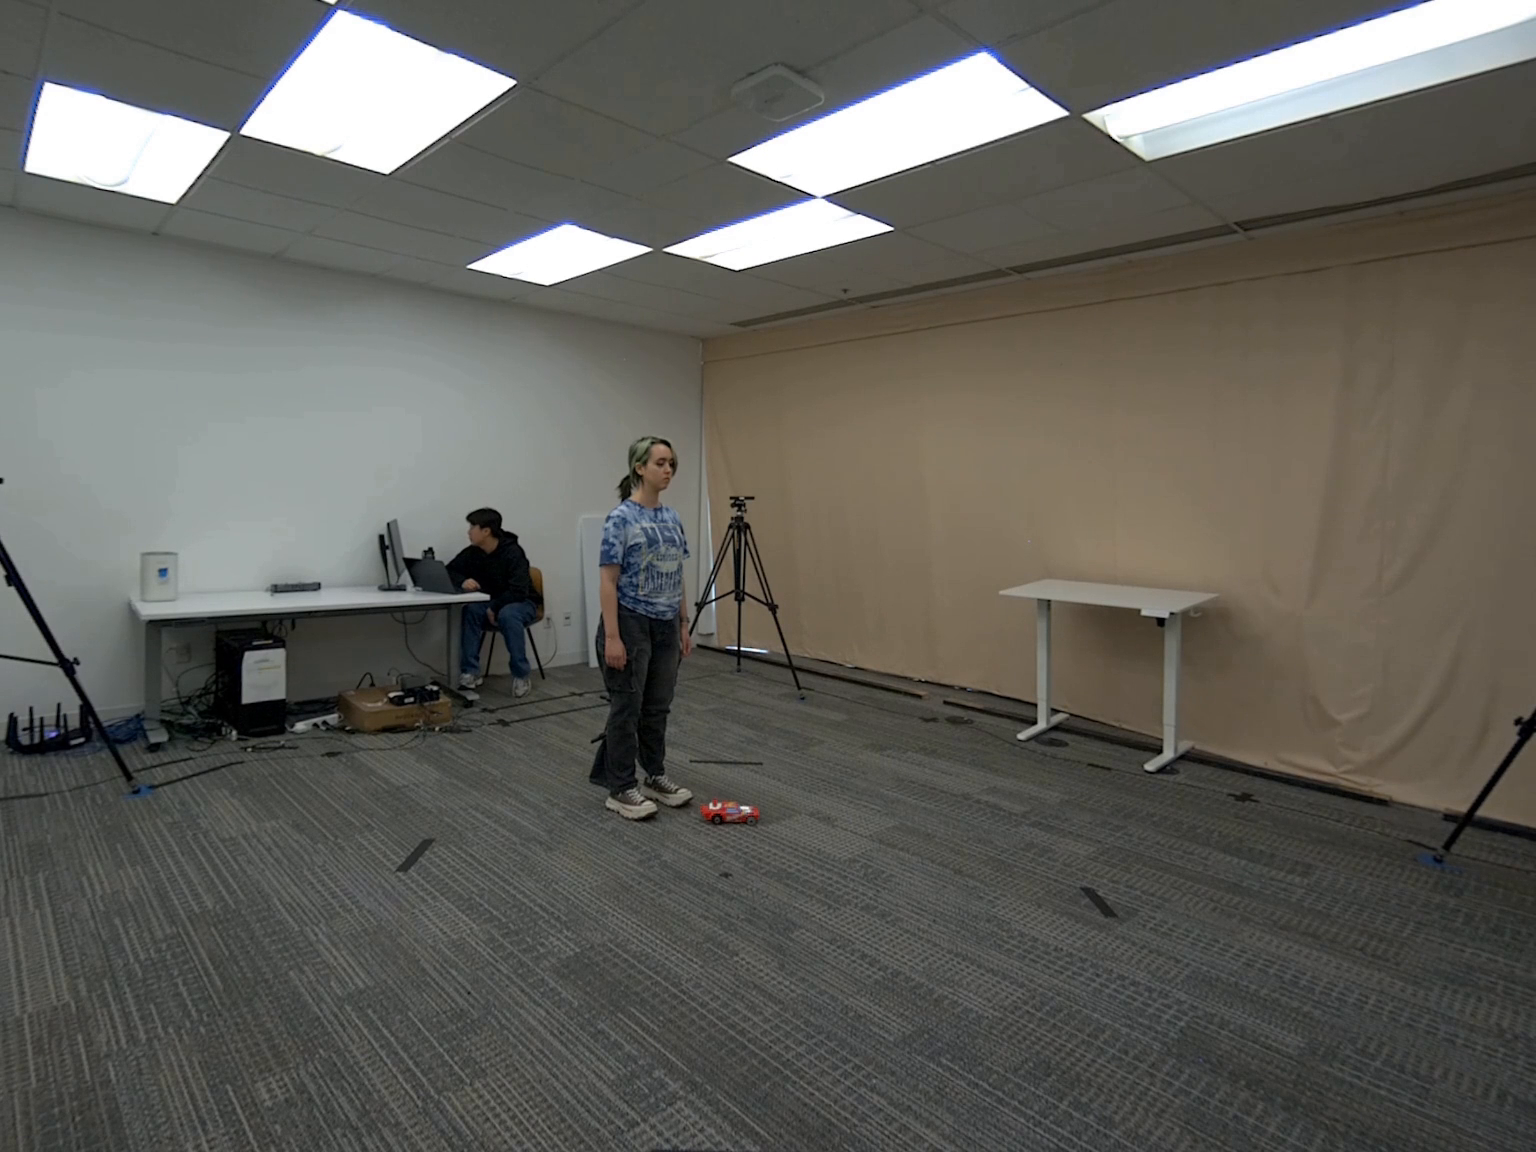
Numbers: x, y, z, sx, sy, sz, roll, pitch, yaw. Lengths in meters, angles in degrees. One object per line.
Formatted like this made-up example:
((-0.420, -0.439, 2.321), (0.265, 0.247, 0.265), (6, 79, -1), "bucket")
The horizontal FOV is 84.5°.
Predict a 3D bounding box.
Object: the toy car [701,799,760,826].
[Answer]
((-0.178, 1.026, 3.636), (0.254, 0.083, 0.131), (13, 5, -3), "toy car")
